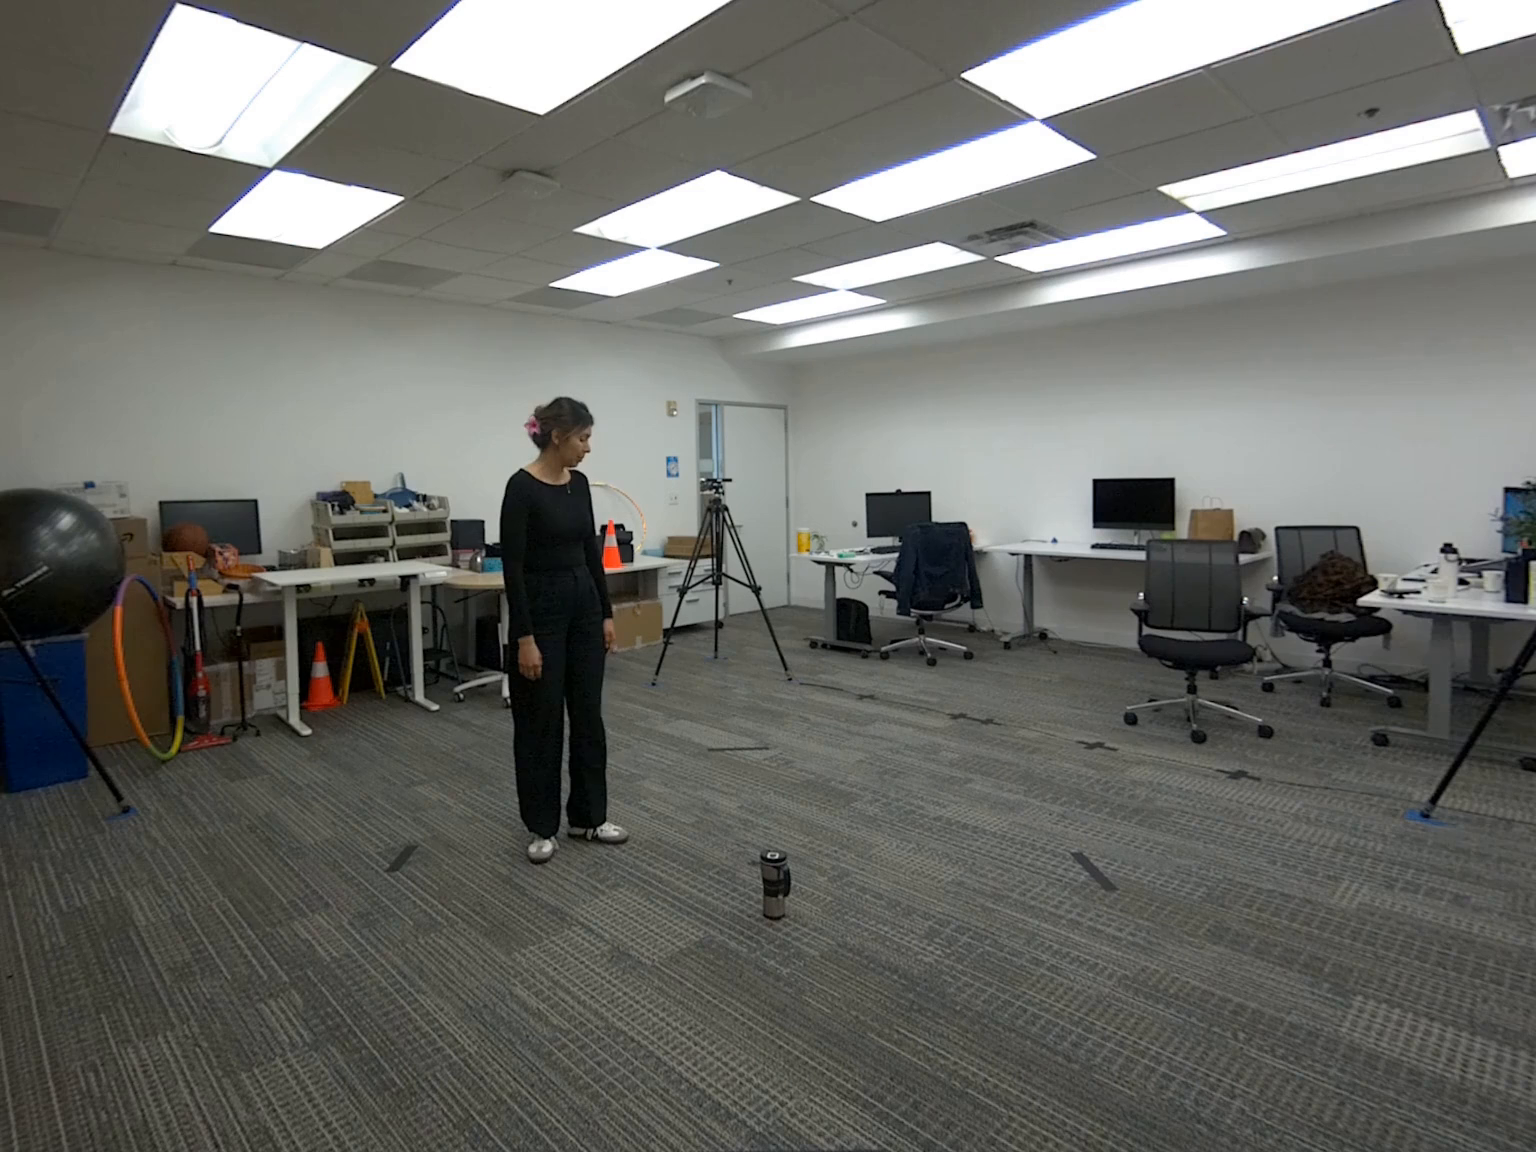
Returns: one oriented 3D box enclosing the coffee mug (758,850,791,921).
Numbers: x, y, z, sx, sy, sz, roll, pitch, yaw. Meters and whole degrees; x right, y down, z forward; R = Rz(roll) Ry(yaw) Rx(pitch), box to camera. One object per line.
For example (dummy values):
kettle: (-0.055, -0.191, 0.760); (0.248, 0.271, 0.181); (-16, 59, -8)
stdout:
coffee mug: (0.023, 0.990, 2.706); (0.088, 0.203, 0.122); (0, 2, 0)
